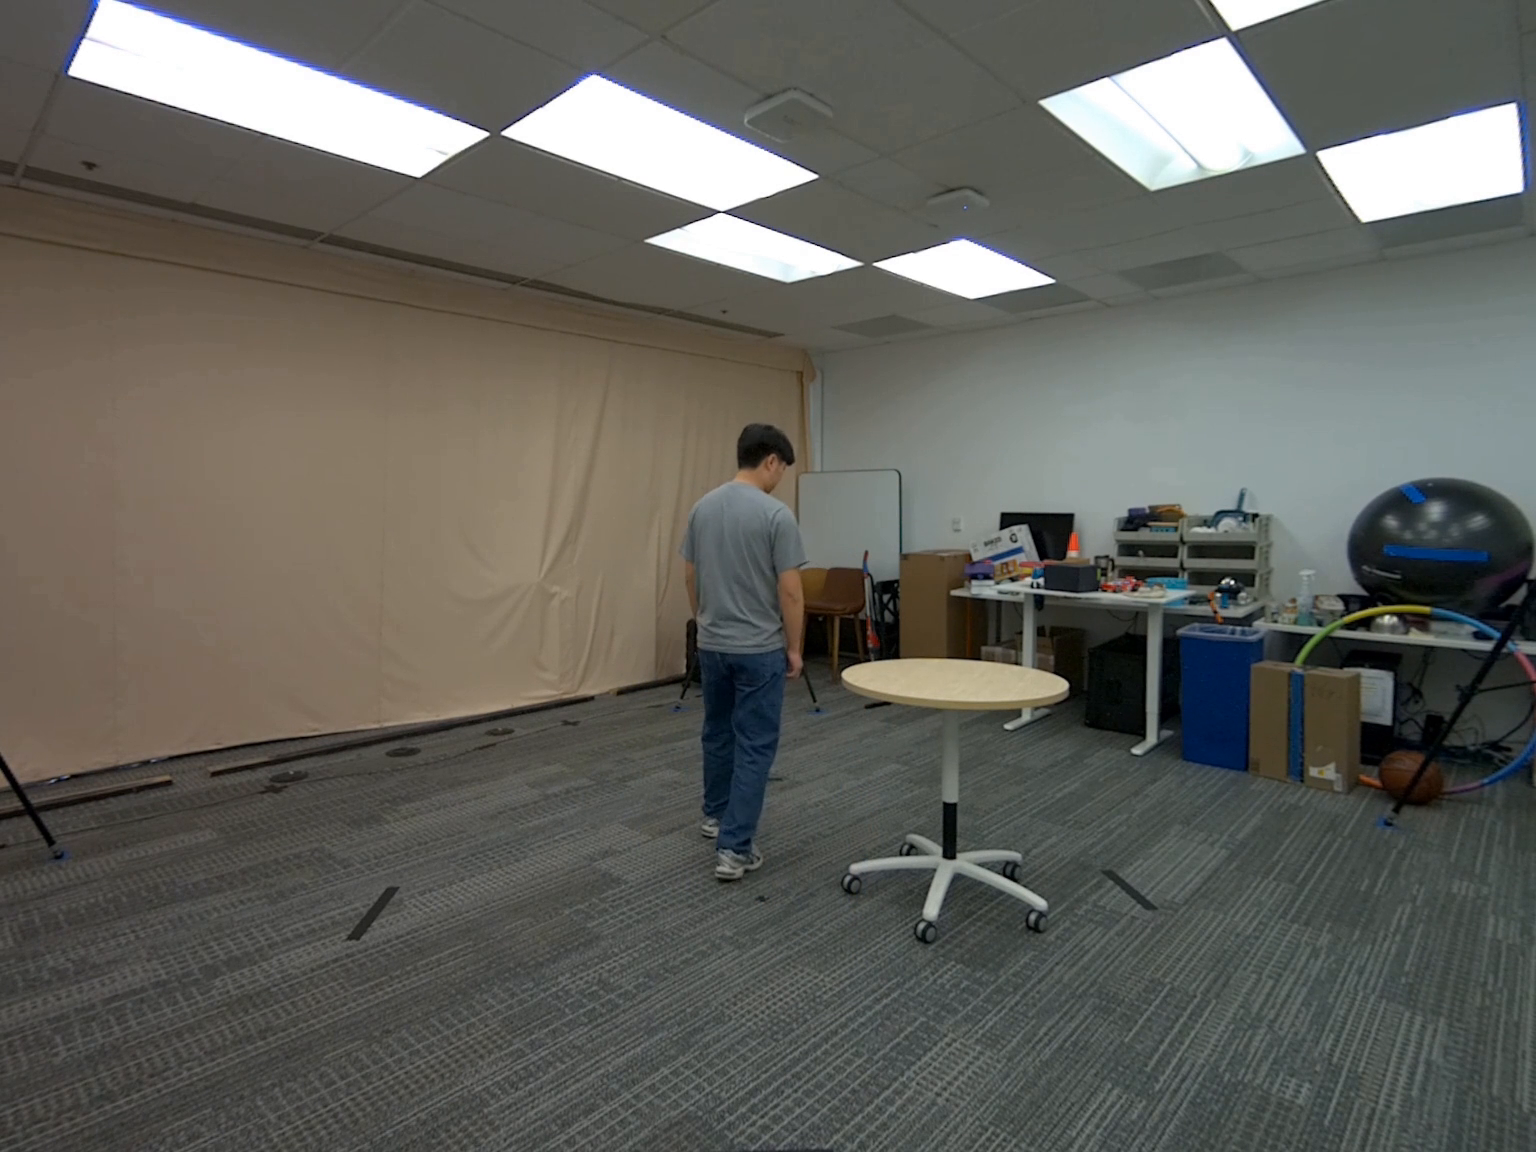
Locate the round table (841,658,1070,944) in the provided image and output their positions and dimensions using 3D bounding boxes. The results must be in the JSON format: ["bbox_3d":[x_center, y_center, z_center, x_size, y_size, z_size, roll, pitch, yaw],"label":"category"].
[{"bbox_3d":[0.651,0.754,2.980,0.763,0.792,0.766,0,3,-2],"label":"round table"}]
